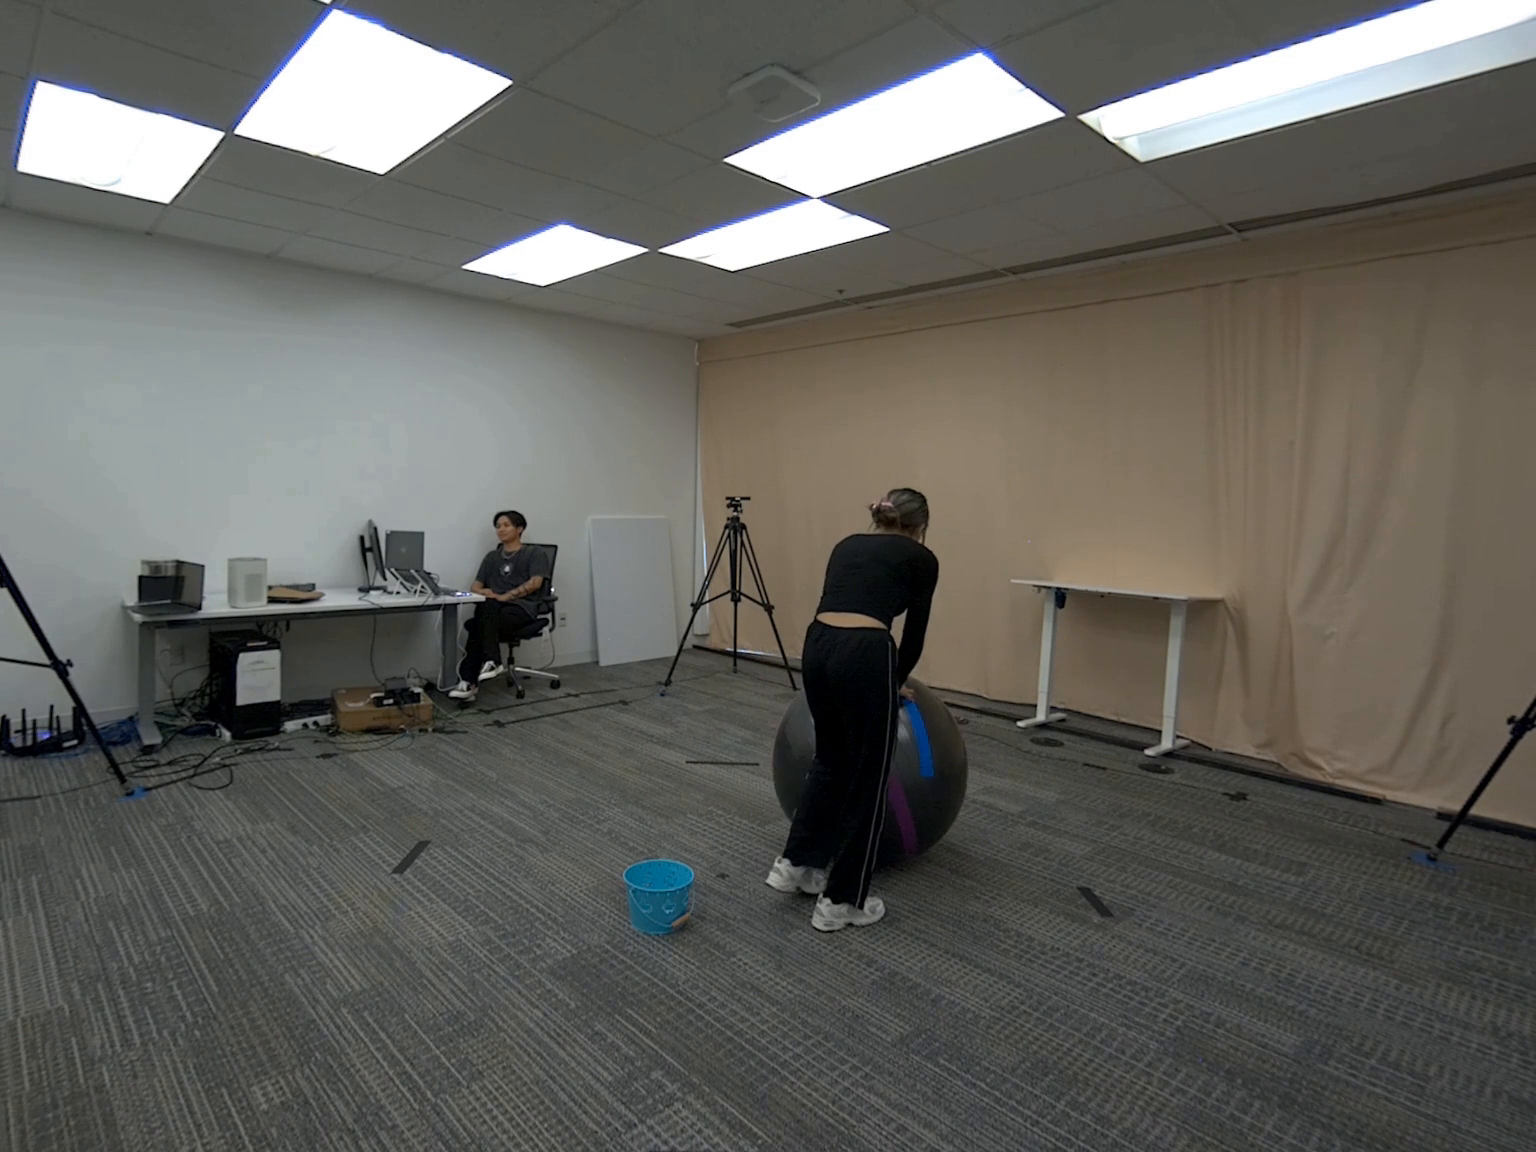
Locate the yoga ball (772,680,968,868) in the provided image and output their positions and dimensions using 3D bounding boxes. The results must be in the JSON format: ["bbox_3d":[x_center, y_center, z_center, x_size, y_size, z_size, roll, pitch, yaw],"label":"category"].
[{"bbox_3d":[0.389,0.737,3.312,0.757,0.756,0.761,1,4,-1],"label":"yoga ball"}]
